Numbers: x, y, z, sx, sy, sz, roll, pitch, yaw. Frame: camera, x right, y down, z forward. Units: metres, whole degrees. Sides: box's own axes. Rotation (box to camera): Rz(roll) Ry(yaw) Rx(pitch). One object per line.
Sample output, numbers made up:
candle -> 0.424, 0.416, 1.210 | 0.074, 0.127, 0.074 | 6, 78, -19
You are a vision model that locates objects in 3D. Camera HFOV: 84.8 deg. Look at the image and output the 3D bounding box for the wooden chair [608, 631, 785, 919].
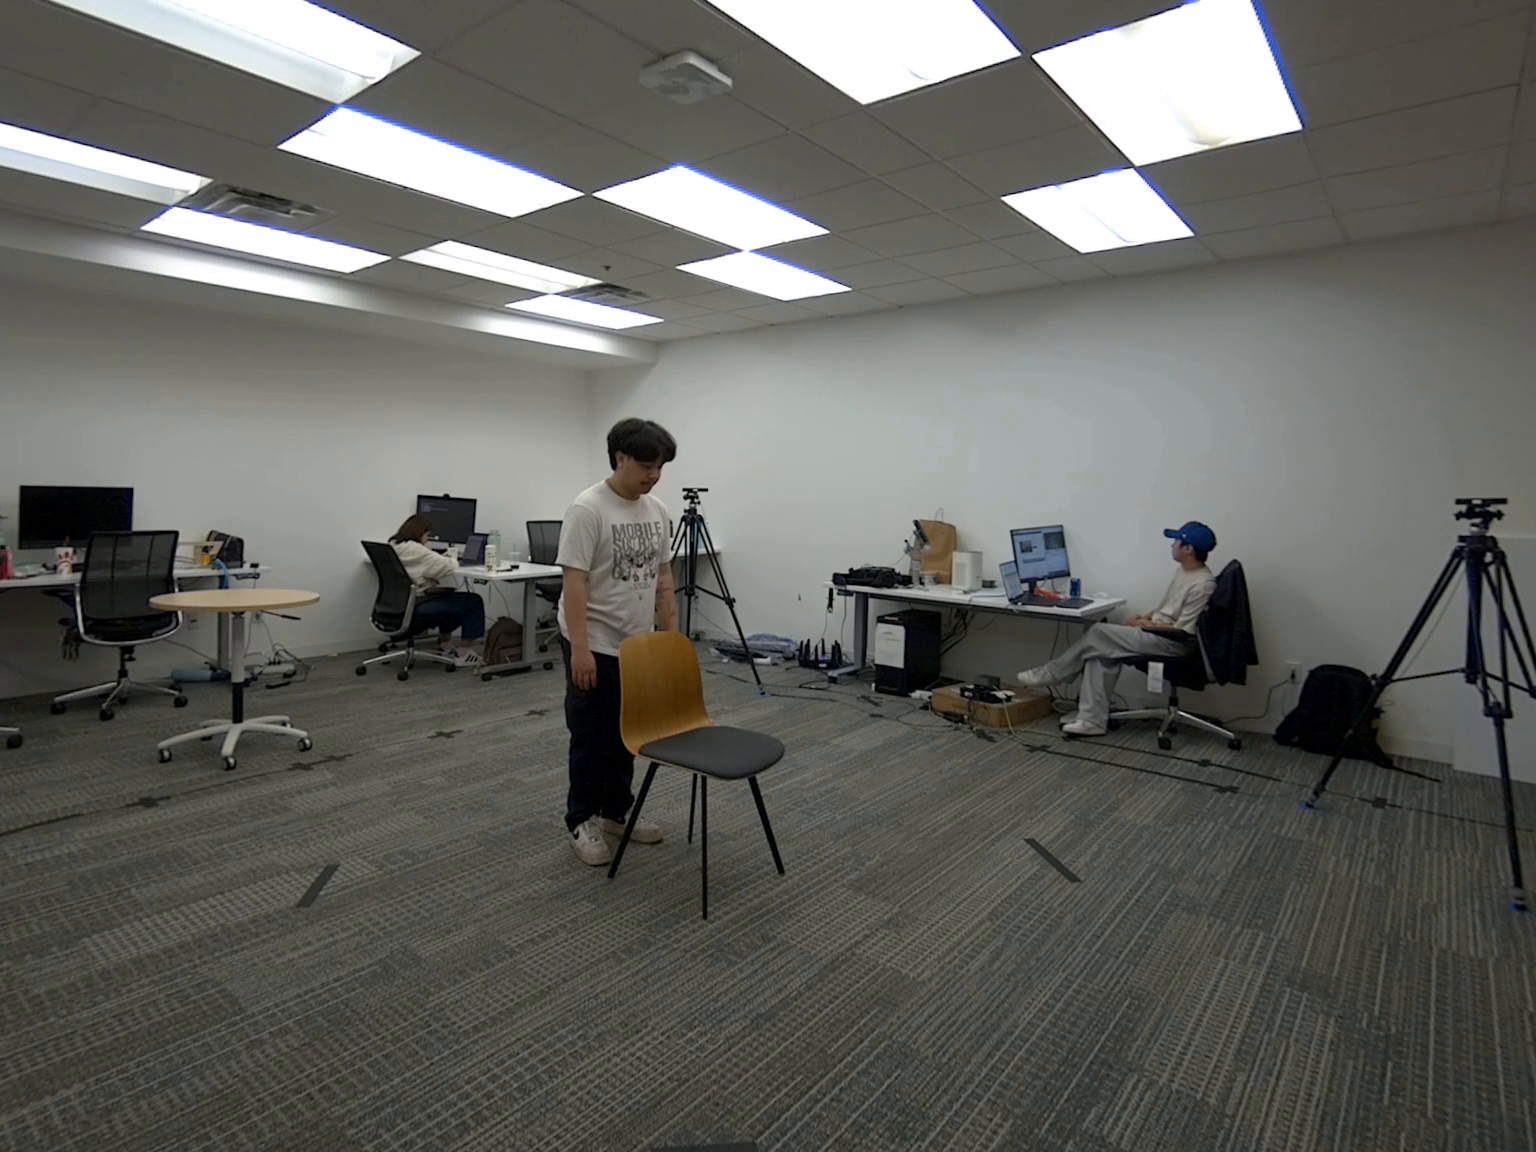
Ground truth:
wooden chair -> -0.244, 0.650, 3.020 | 0.539, 0.878, 0.464 | -2, 0, 38
